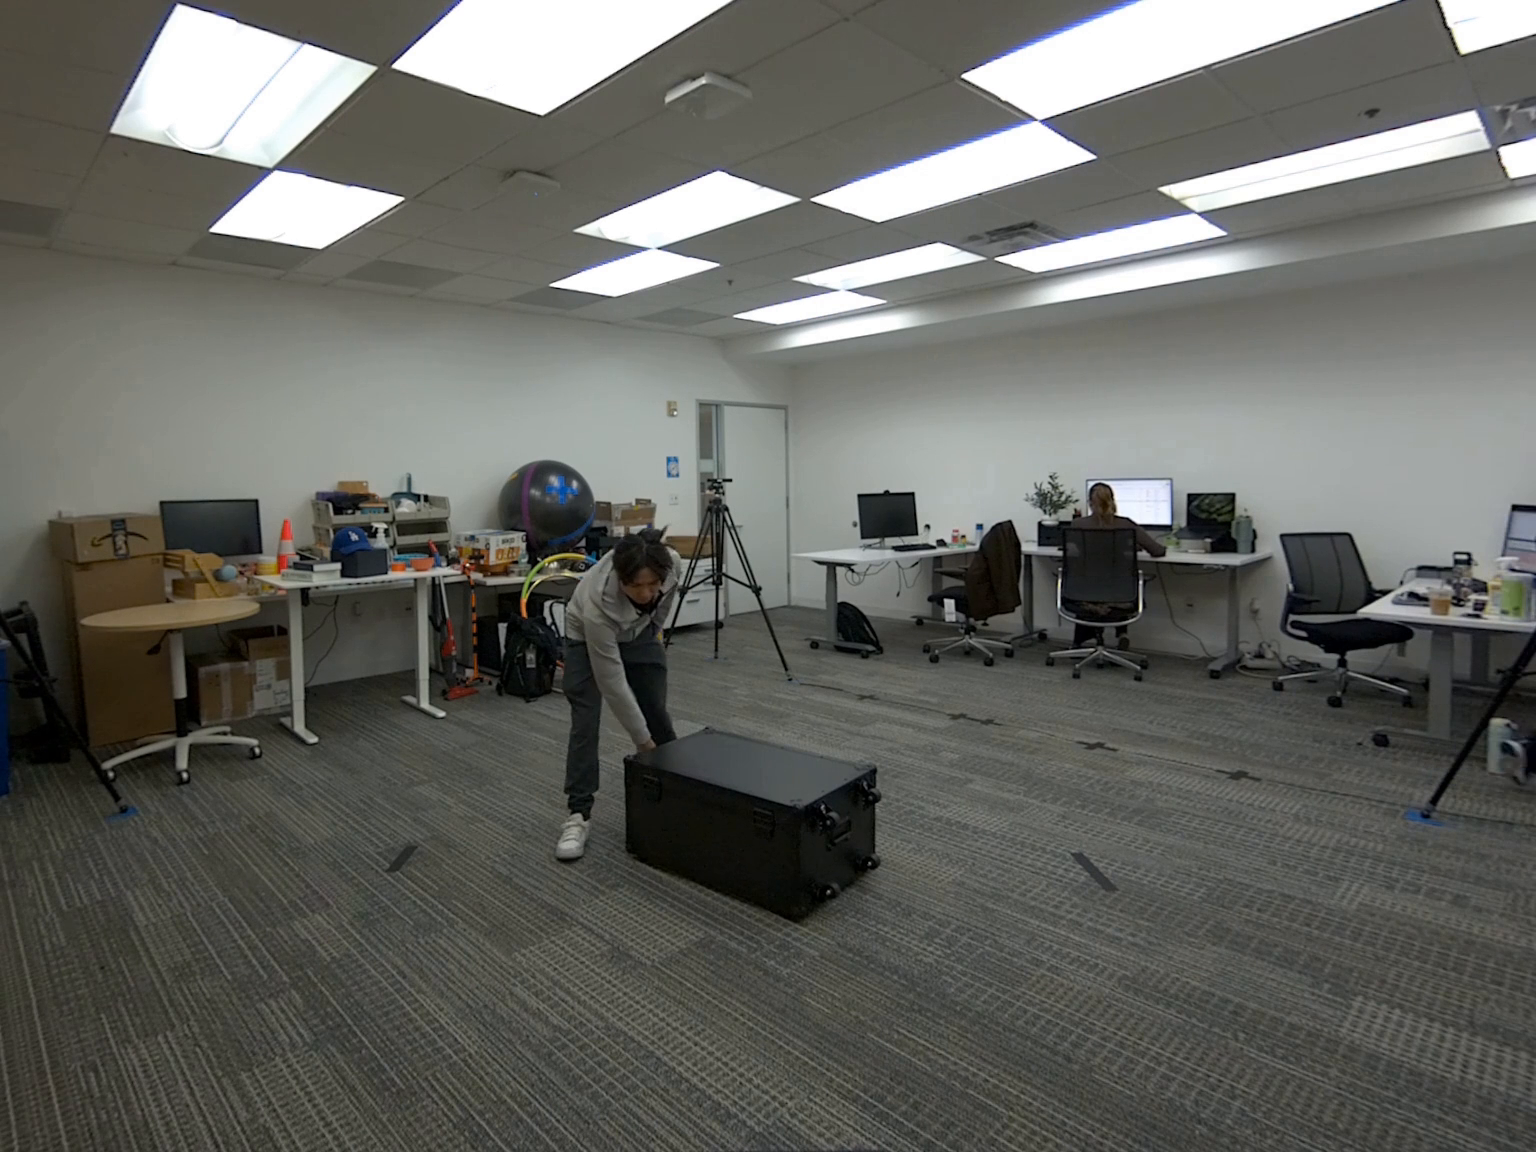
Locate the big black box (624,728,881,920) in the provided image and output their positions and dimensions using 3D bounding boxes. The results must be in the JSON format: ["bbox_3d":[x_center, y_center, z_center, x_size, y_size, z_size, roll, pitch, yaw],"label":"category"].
[{"bbox_3d":[-0.090,0.857,3.109,0.887,0.394,0.508,4,7,38],"label":"big black box"}]
